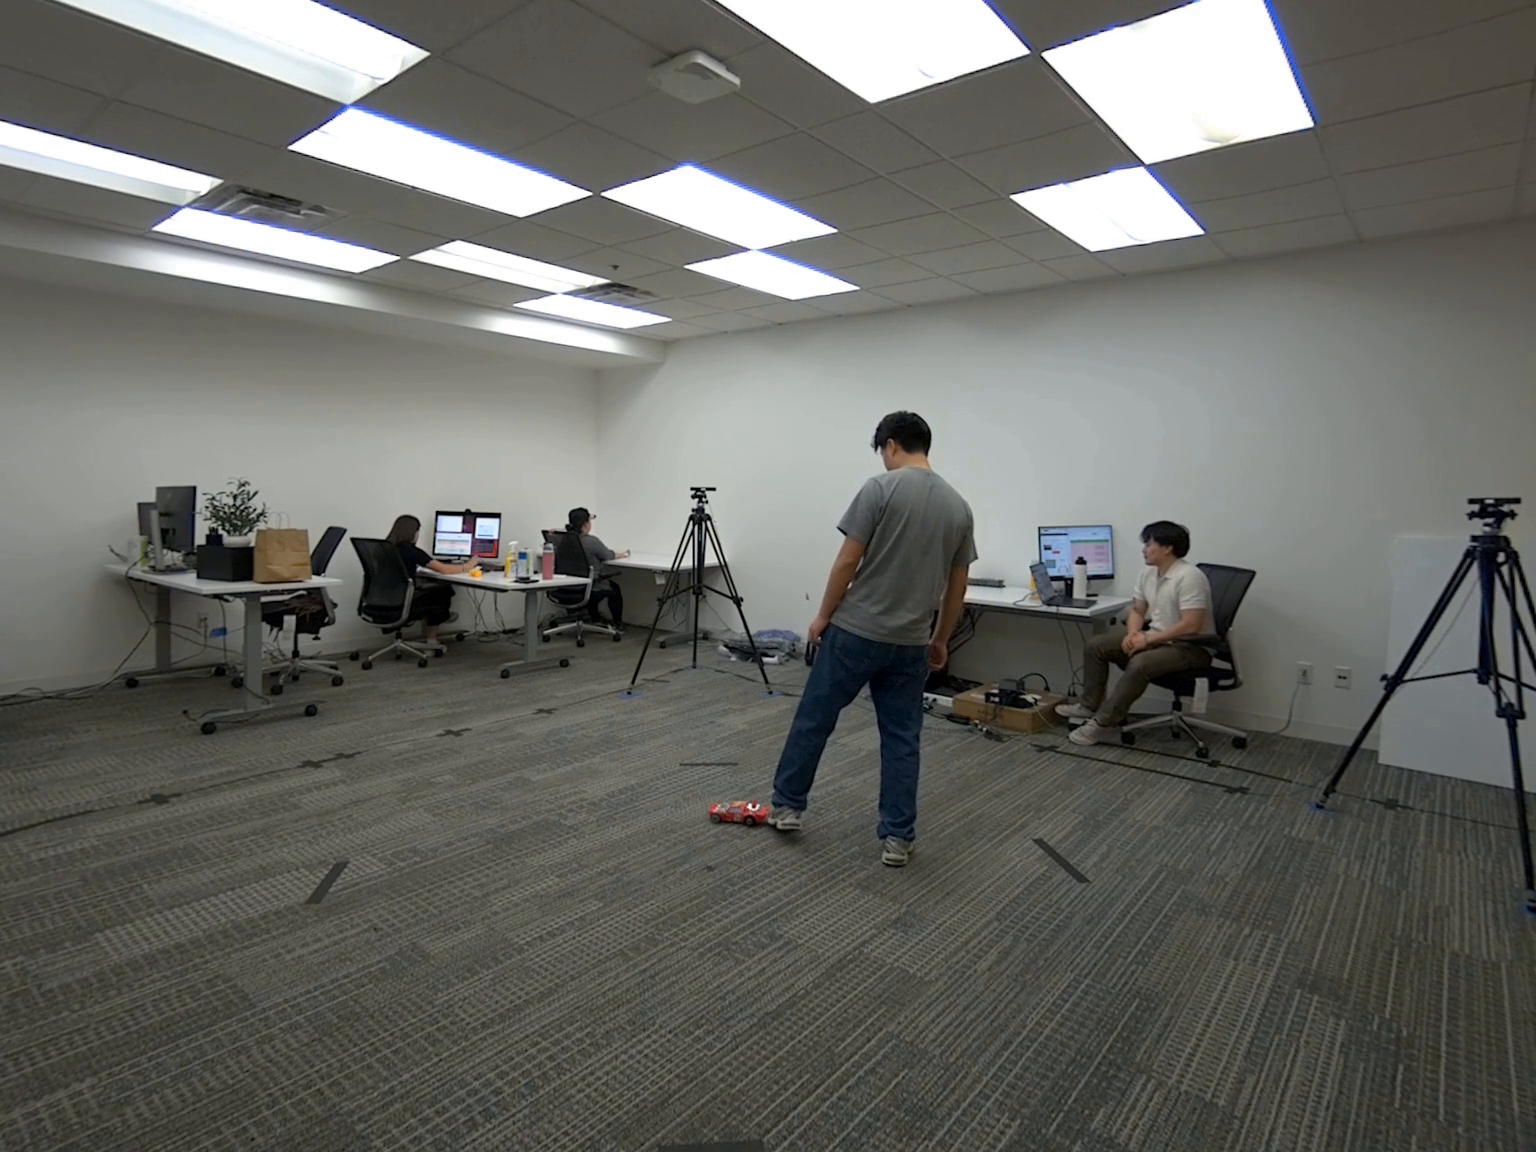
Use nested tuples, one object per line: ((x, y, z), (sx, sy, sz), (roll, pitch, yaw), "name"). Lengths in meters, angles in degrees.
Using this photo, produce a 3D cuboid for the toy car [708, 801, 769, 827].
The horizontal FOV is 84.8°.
((-0.119, 0.990, 3.565), (0.257, 0.083, 0.129), (-10, 2, 9), "toy car")
